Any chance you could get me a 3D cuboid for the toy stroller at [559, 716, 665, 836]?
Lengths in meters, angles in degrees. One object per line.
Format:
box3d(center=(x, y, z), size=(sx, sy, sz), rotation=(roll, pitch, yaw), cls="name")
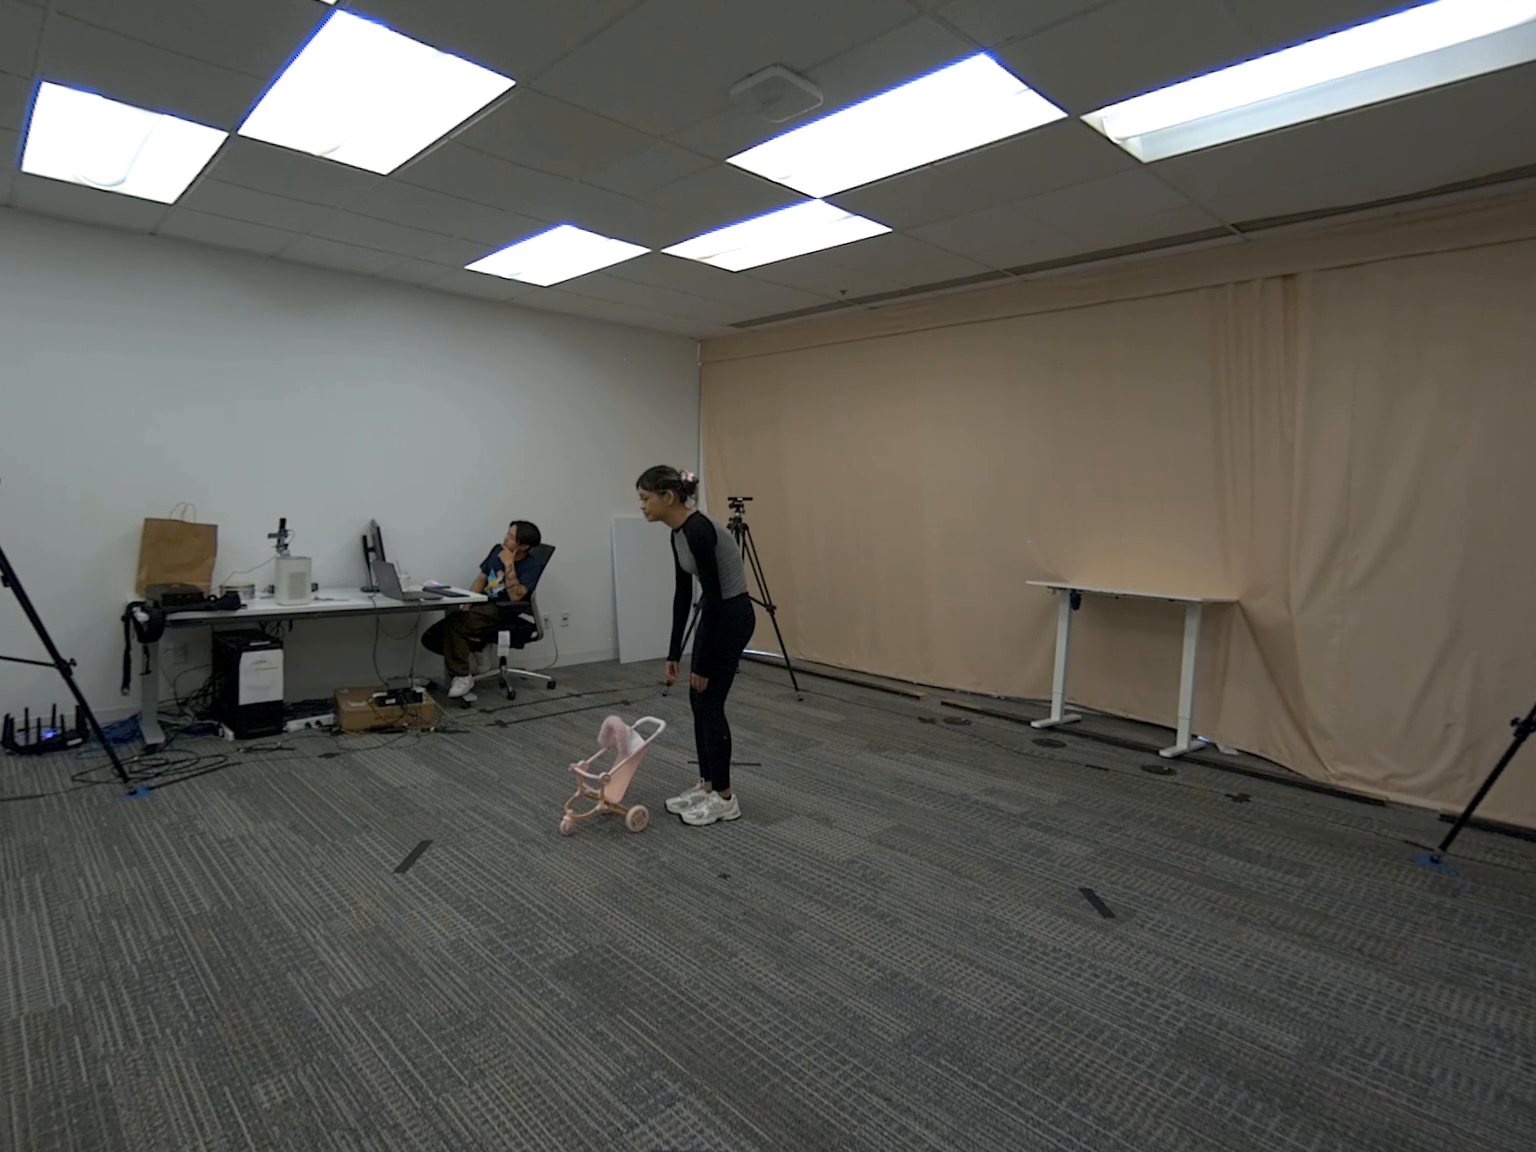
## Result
box3d(center=(-0.680, 0.834, 3.553), size=(0.332, 0.537, 0.288), rotation=(19, -8, -32), cls="toy stroller")
